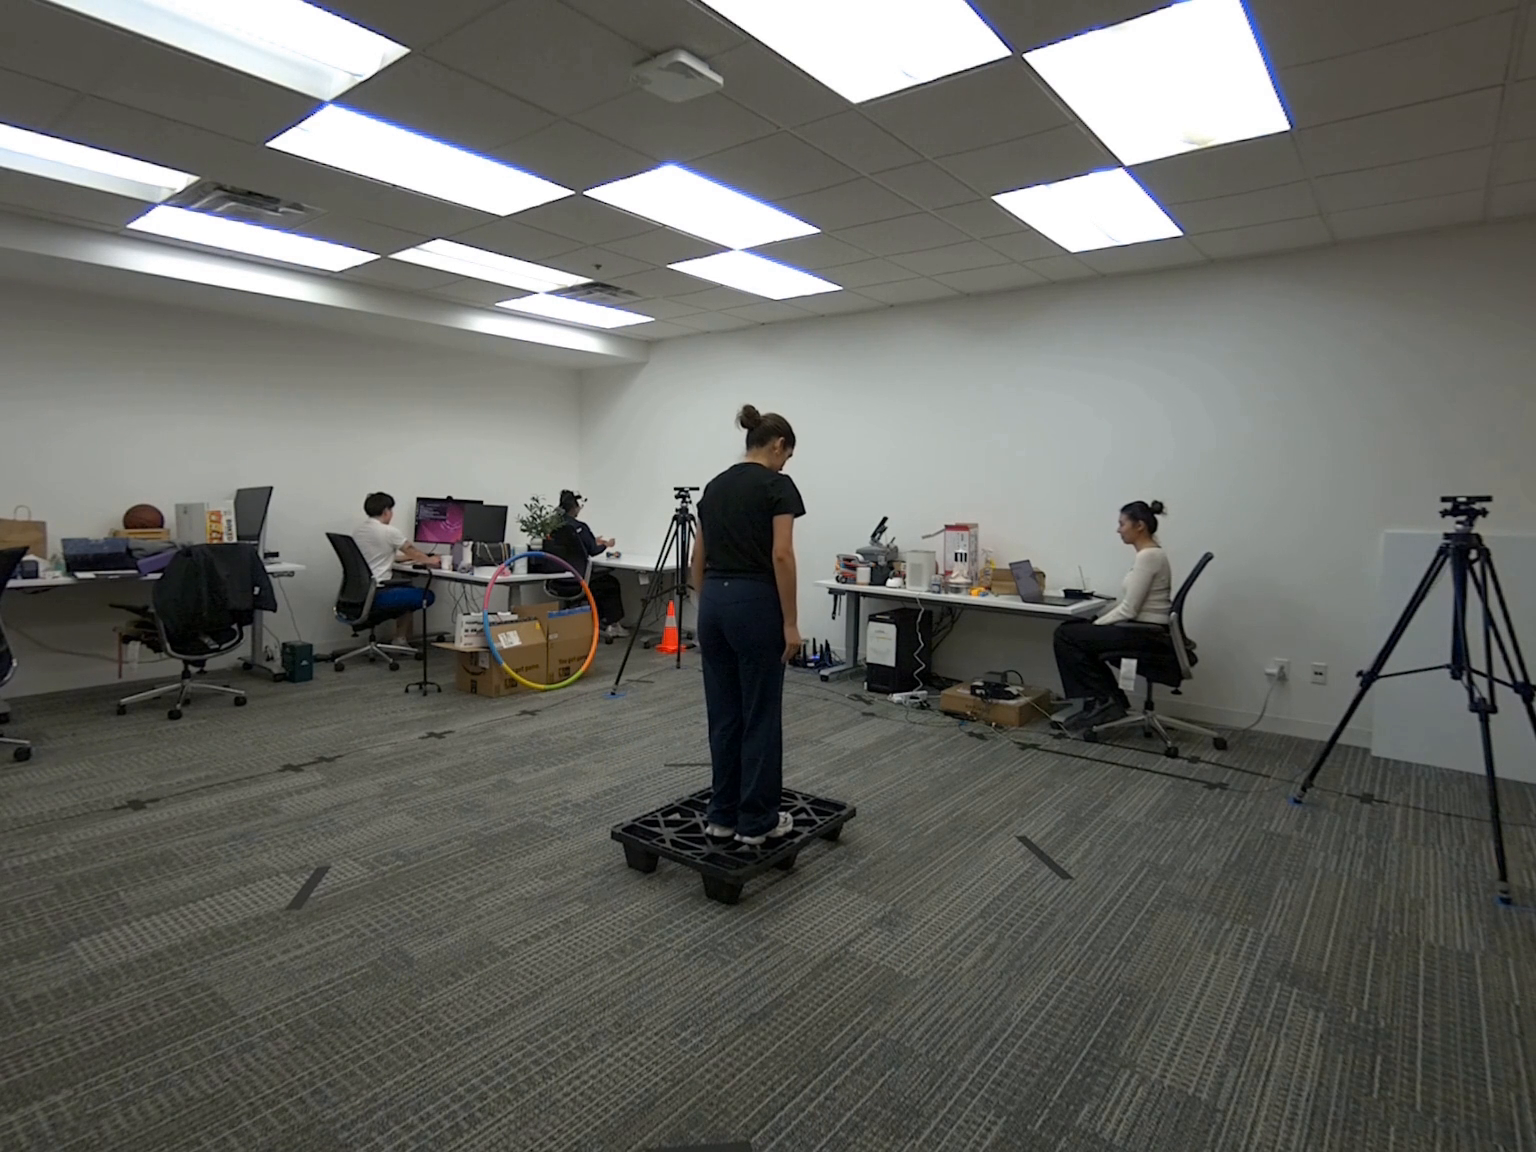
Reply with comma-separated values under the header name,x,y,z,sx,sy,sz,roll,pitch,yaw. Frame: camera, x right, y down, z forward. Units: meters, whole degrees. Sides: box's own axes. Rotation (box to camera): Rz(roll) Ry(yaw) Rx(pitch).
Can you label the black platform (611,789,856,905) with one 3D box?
name,x,y,z,sx,sy,sz,roll,pitch,yaw
black platform,-0.090,0.984,3.264,0.625,0.143,0.783,5,7,37
